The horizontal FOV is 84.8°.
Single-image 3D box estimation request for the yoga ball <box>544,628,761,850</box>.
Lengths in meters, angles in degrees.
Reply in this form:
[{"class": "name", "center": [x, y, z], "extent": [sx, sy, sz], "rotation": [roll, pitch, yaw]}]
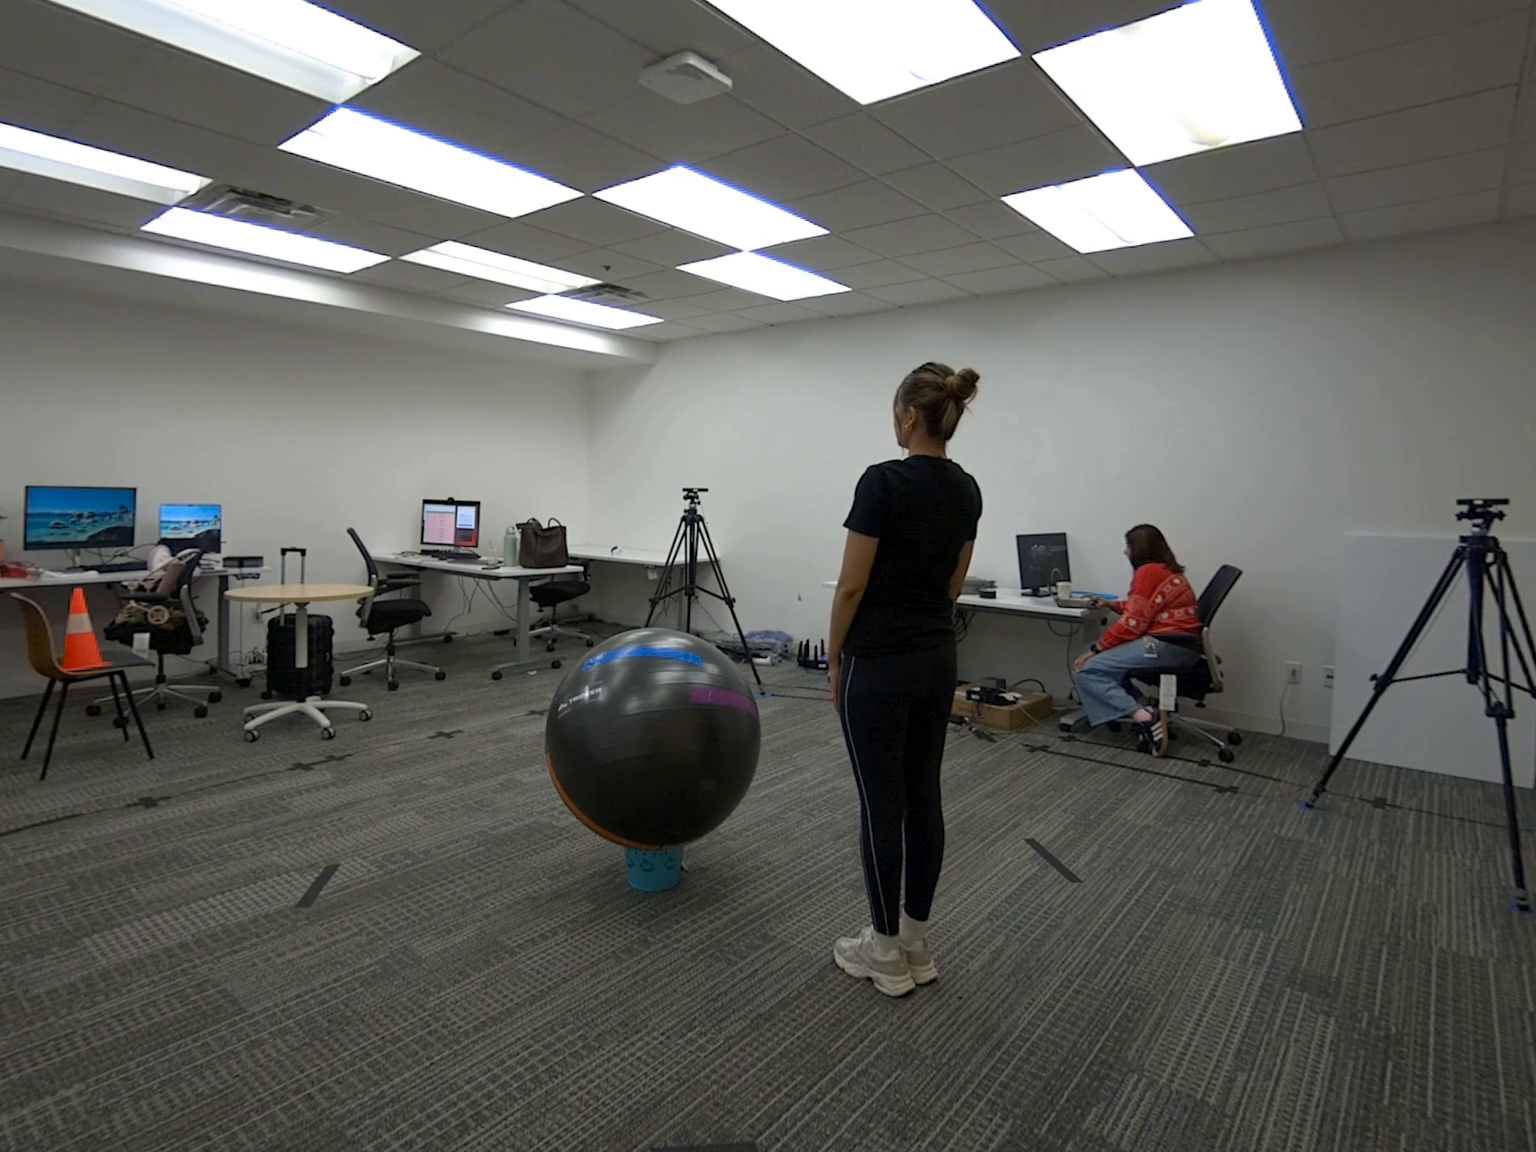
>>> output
[{"class": "yoga ball", "center": [-0.416, 0.564, 3.007], "extent": [0.757, 0.755, 0.762], "rotation": [1, 4, -2]}]
